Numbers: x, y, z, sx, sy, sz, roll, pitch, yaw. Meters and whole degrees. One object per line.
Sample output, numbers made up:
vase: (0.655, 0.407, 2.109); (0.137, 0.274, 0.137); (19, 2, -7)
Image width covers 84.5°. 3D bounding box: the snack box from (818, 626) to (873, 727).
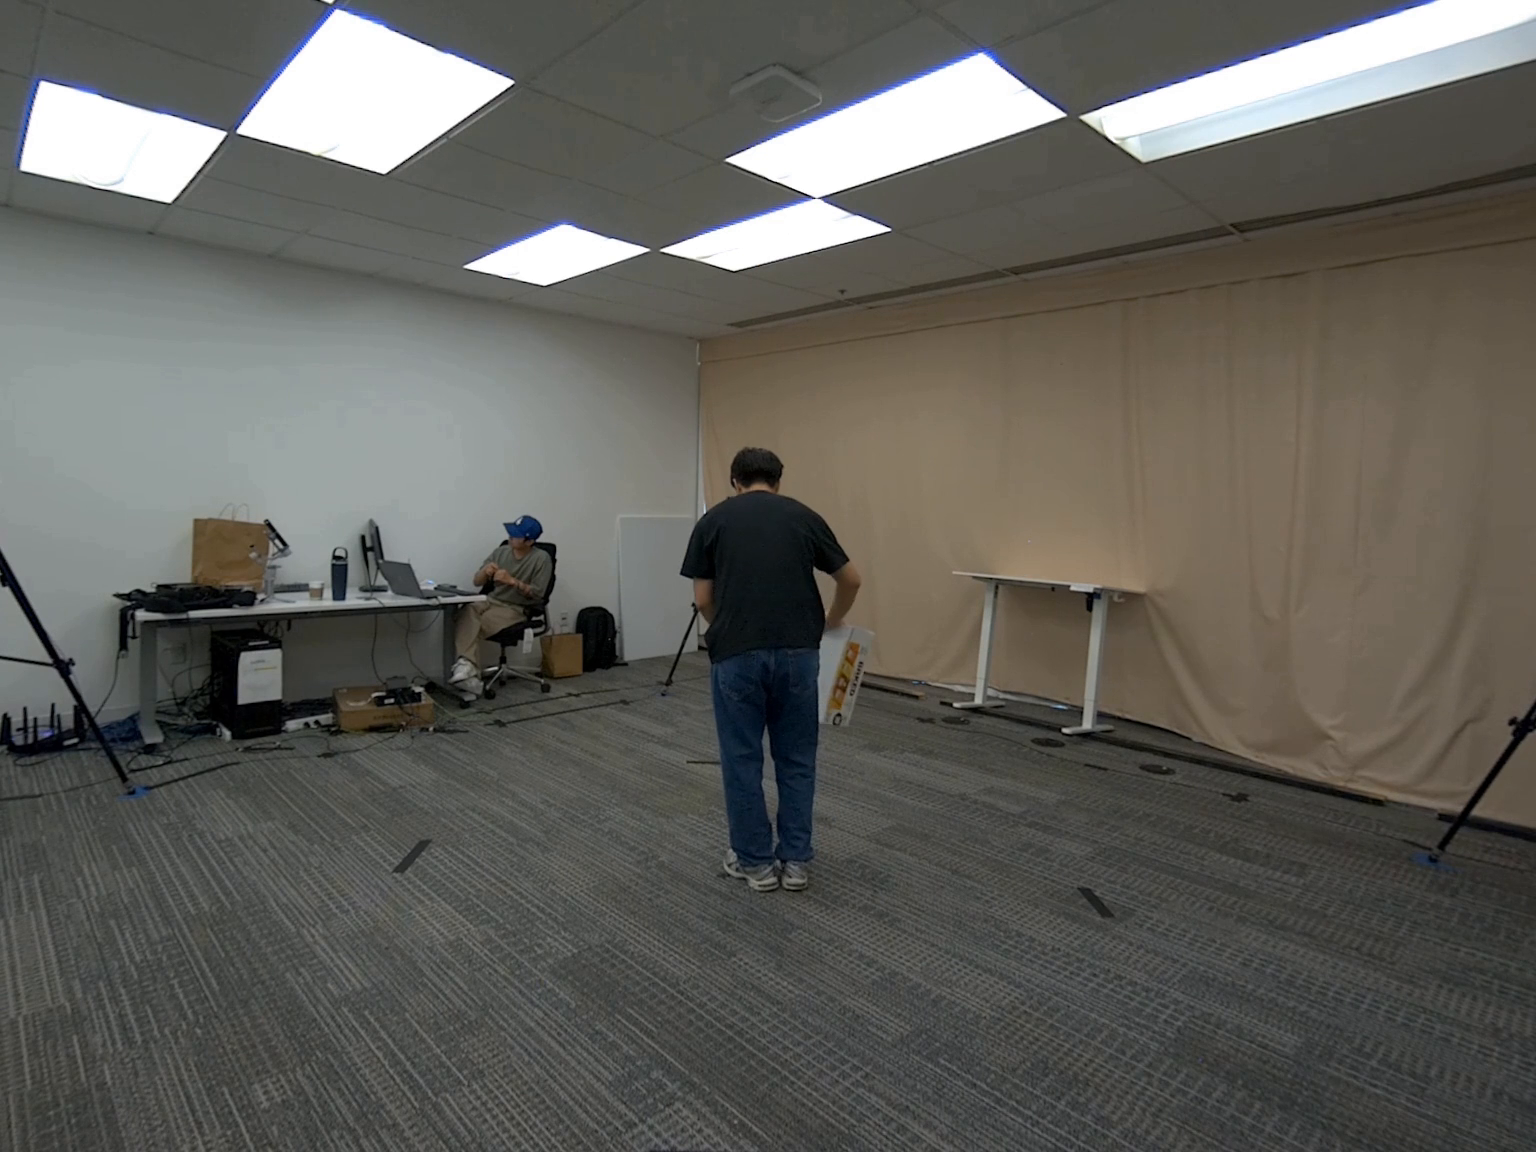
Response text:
snack box: (0.200, 0.379, 3.515); (0.350, 0.405, 0.200); (15, -3, 38)
